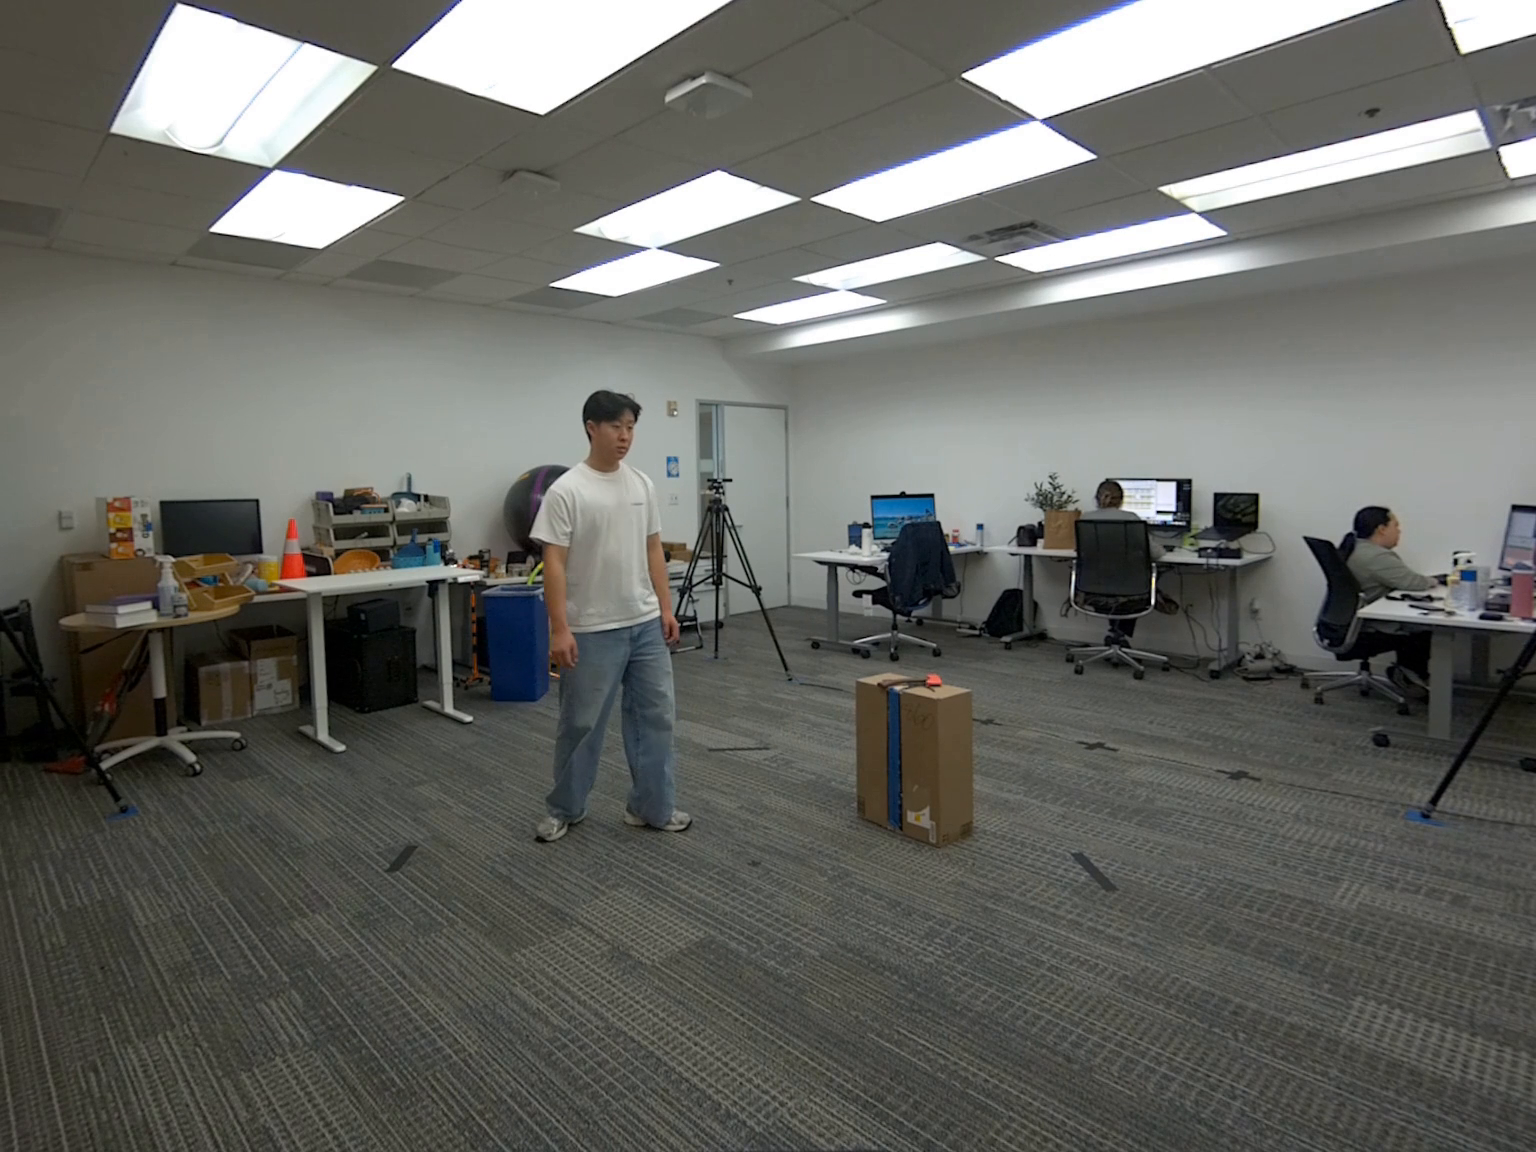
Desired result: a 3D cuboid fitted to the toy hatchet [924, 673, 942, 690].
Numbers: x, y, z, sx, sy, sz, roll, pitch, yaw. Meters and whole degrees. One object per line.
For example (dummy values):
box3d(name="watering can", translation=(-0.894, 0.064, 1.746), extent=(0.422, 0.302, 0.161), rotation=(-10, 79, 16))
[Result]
box3d(name="toy hatchet", translation=(0.571, 0.423, 3.385), extent=(0.264, 0.029, 0.135), rotation=(-6, 11, -29))
